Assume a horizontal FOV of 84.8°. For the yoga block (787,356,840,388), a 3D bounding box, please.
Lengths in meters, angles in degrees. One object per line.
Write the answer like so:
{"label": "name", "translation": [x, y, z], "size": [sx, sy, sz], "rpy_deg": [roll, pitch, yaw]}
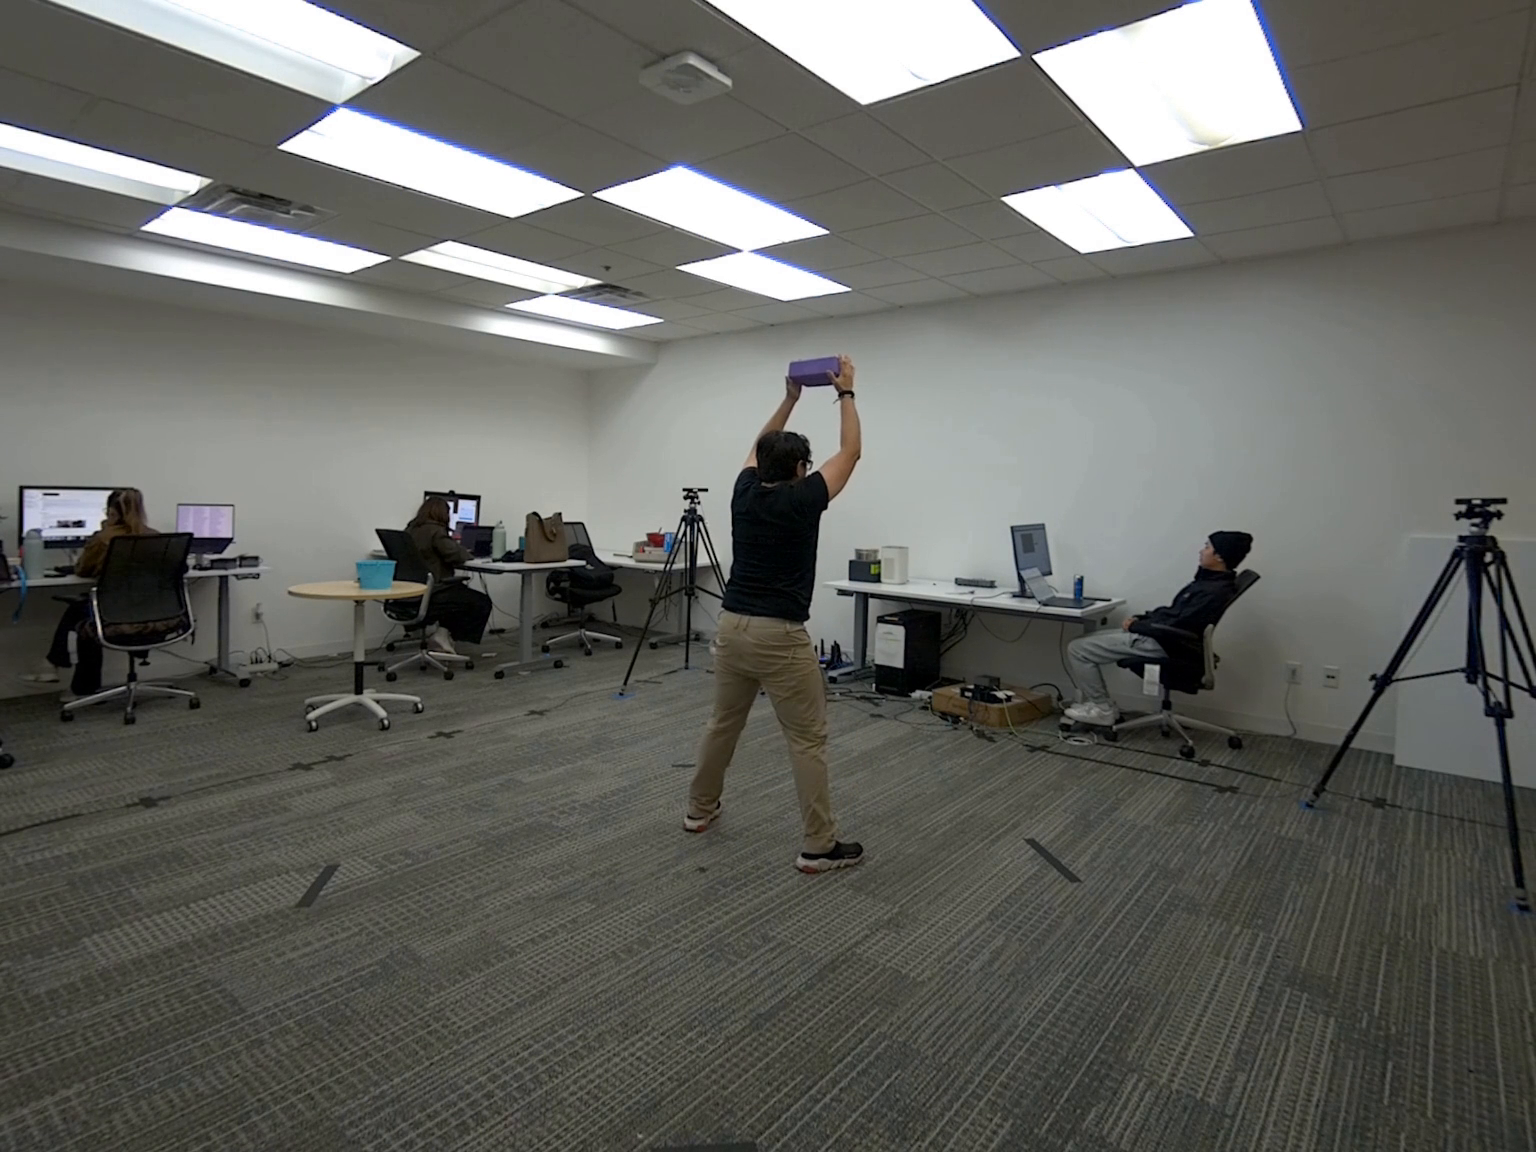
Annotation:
{"label": "yoga block", "translation": [0.206, -0.838, 3.486], "size": [0.237, 0.077, 0.143], "rpy_deg": [3, -7, 38]}
